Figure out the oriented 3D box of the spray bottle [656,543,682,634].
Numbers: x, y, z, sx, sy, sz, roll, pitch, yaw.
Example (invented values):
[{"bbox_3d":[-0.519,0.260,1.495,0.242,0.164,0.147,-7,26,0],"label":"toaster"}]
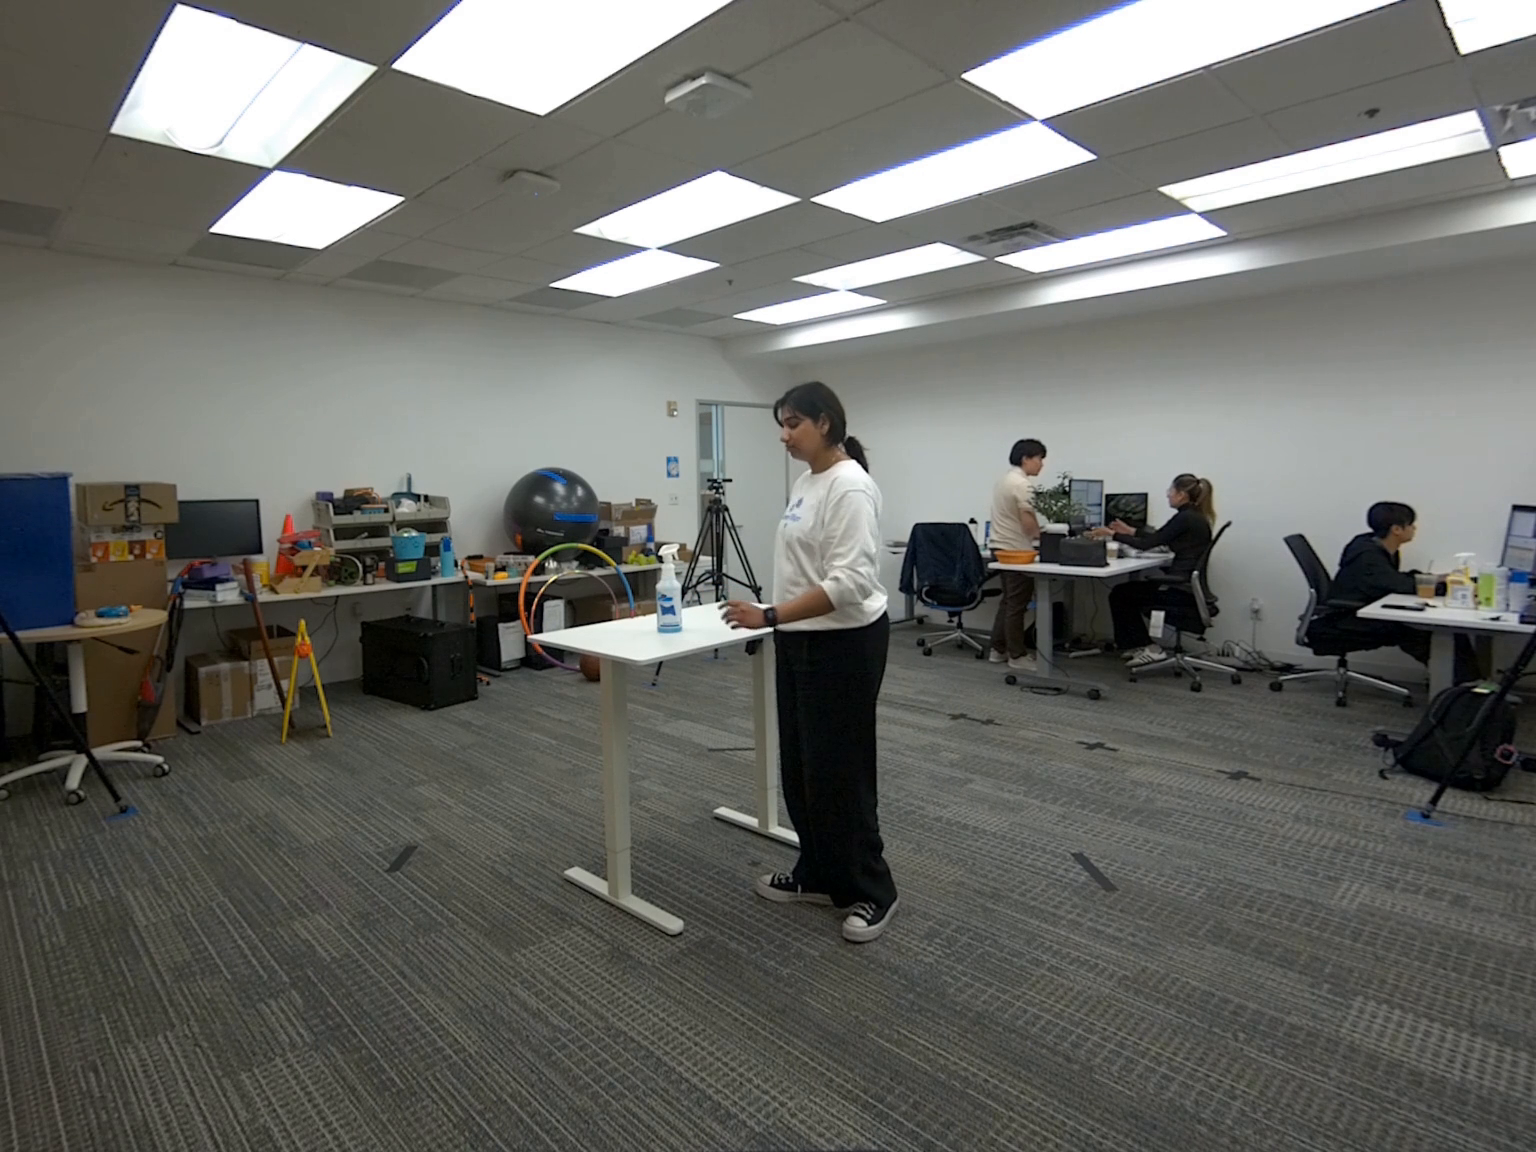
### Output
[{"bbox_3d":[-0.332,0.040,2.929,0.088,0.296,0.089,-1,4,-25],"label":"spray bottle"}]
